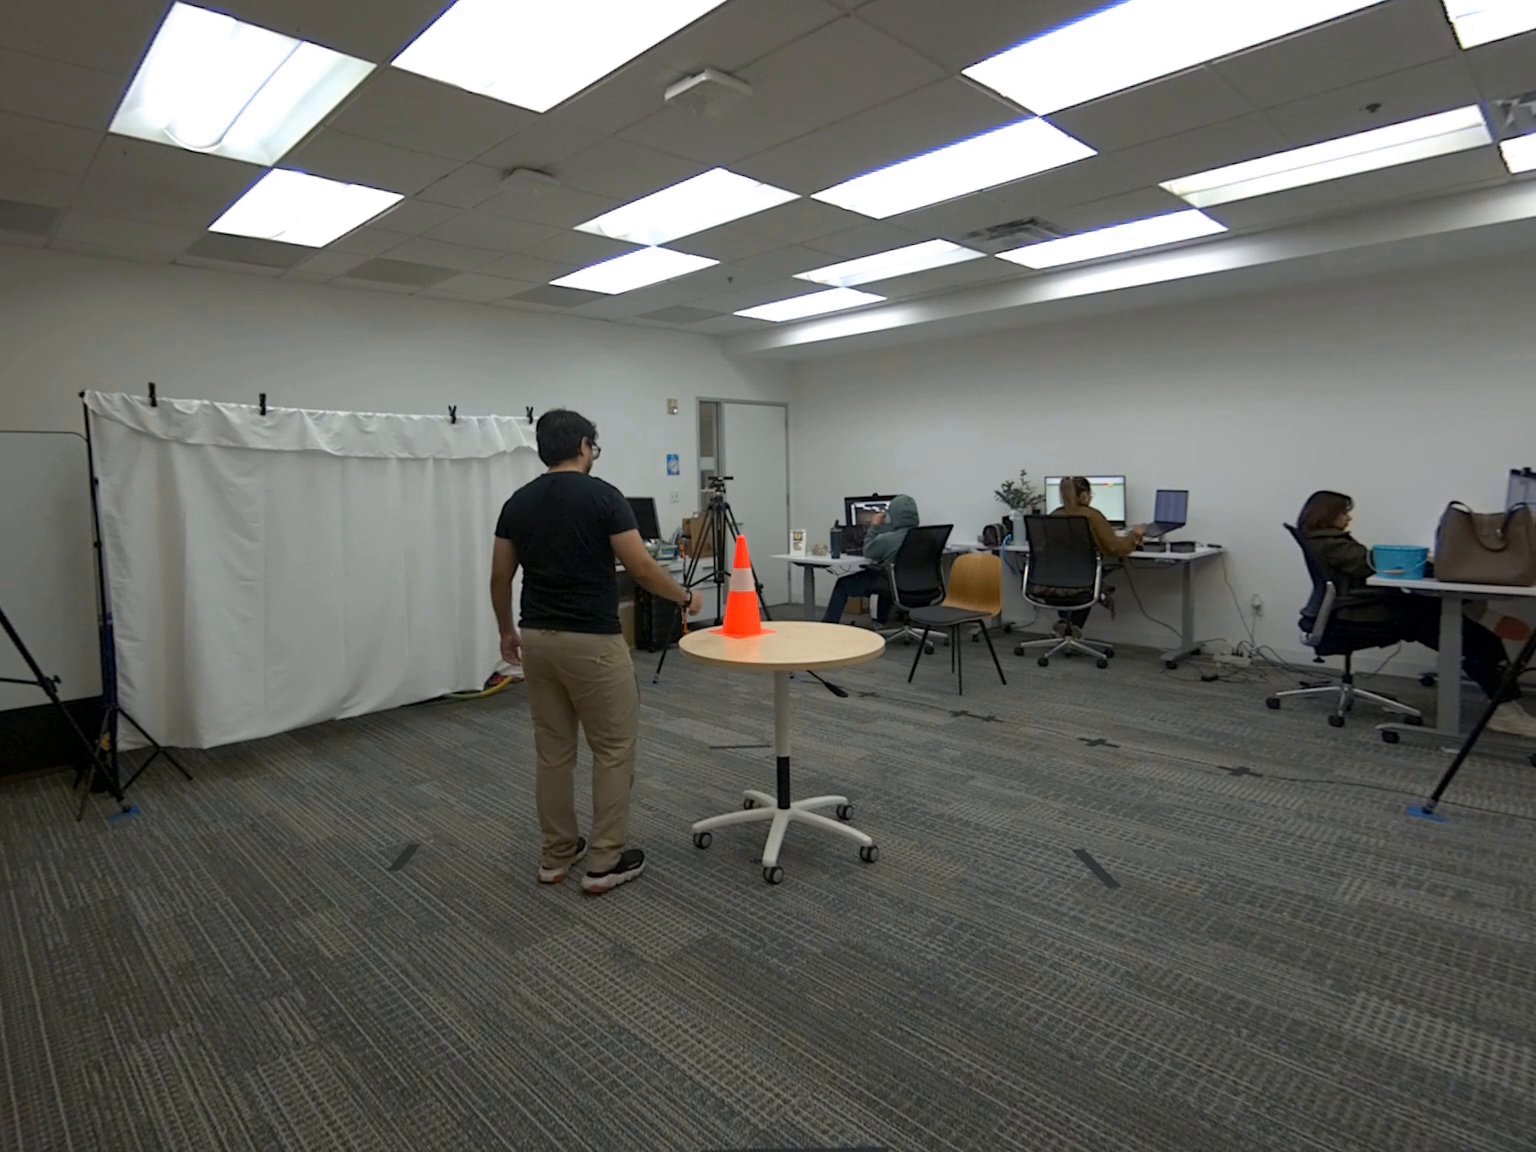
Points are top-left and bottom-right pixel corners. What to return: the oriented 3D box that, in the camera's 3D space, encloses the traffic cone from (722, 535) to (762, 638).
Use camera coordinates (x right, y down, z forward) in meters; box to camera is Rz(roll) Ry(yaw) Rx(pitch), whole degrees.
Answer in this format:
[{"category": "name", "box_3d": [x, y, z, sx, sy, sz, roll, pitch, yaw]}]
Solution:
[{"category": "traffic cone", "box_3d": [-0.107, 0.035, 3.361, 0.209, 0.382, 0.200, 3, 6, 35]}]
